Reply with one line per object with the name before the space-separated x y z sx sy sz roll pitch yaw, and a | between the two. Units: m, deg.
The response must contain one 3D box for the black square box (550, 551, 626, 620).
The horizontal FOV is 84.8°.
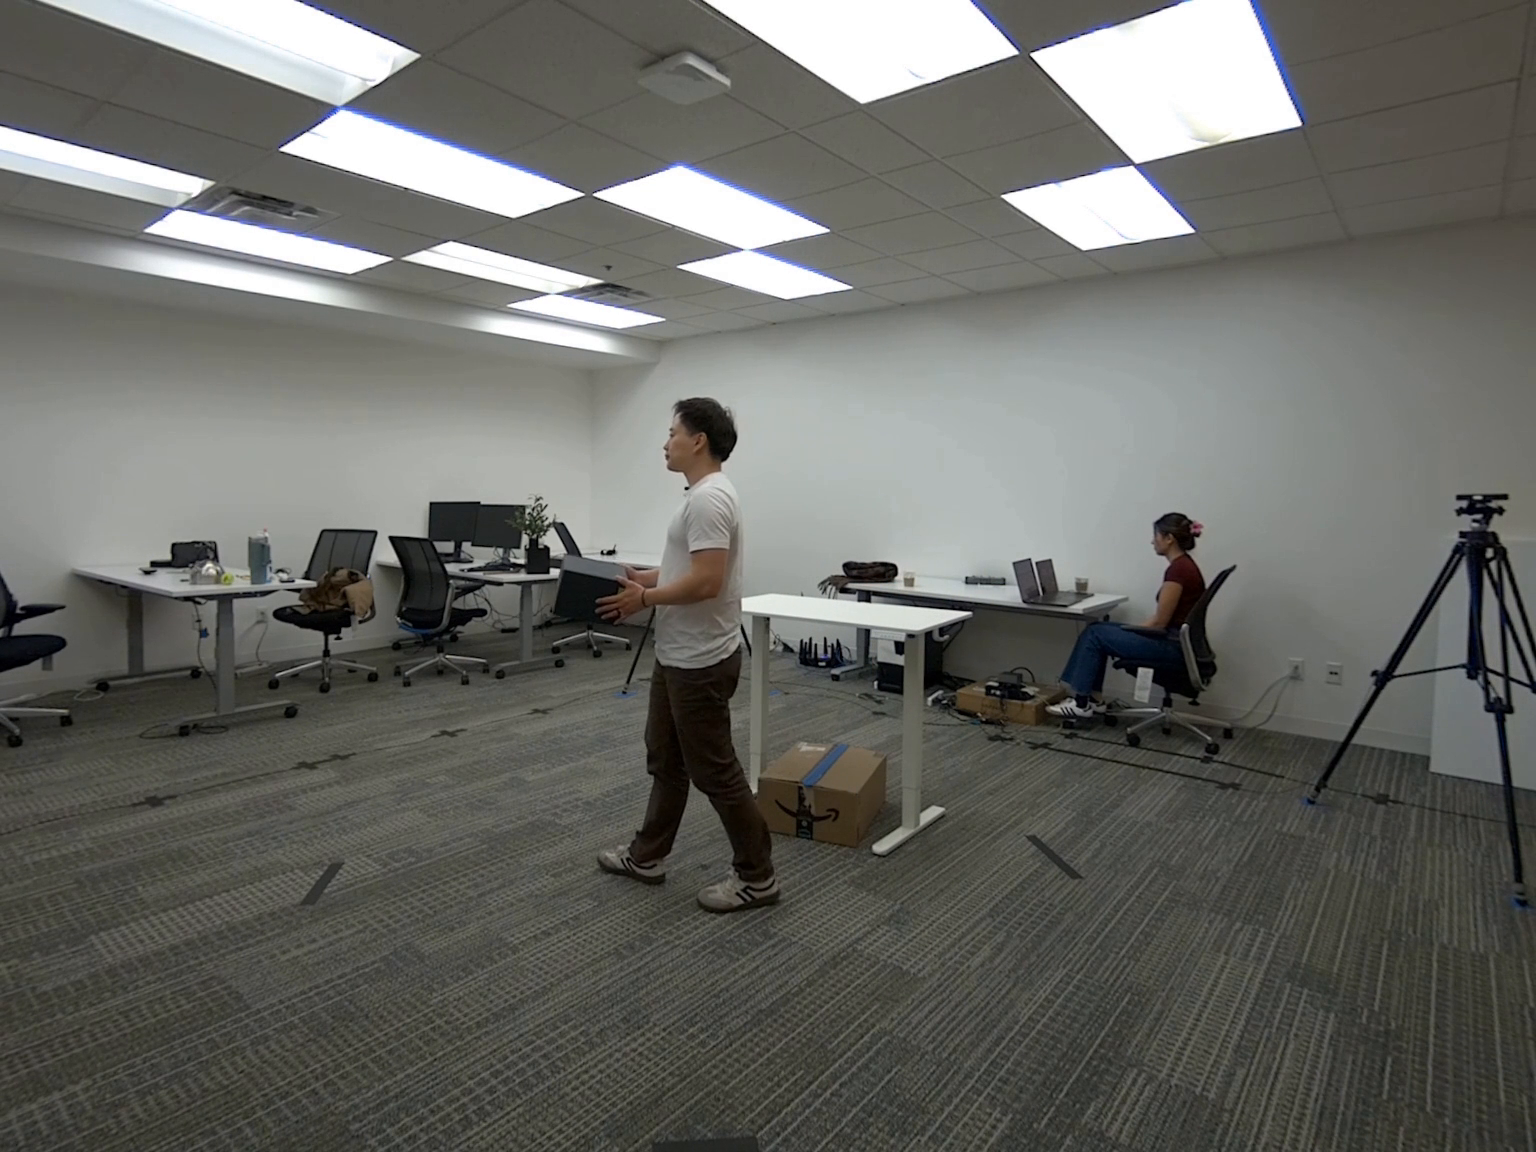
black square box | -0.603 0.030 2.826 0.214 0.155 0.232 9 9 -11
